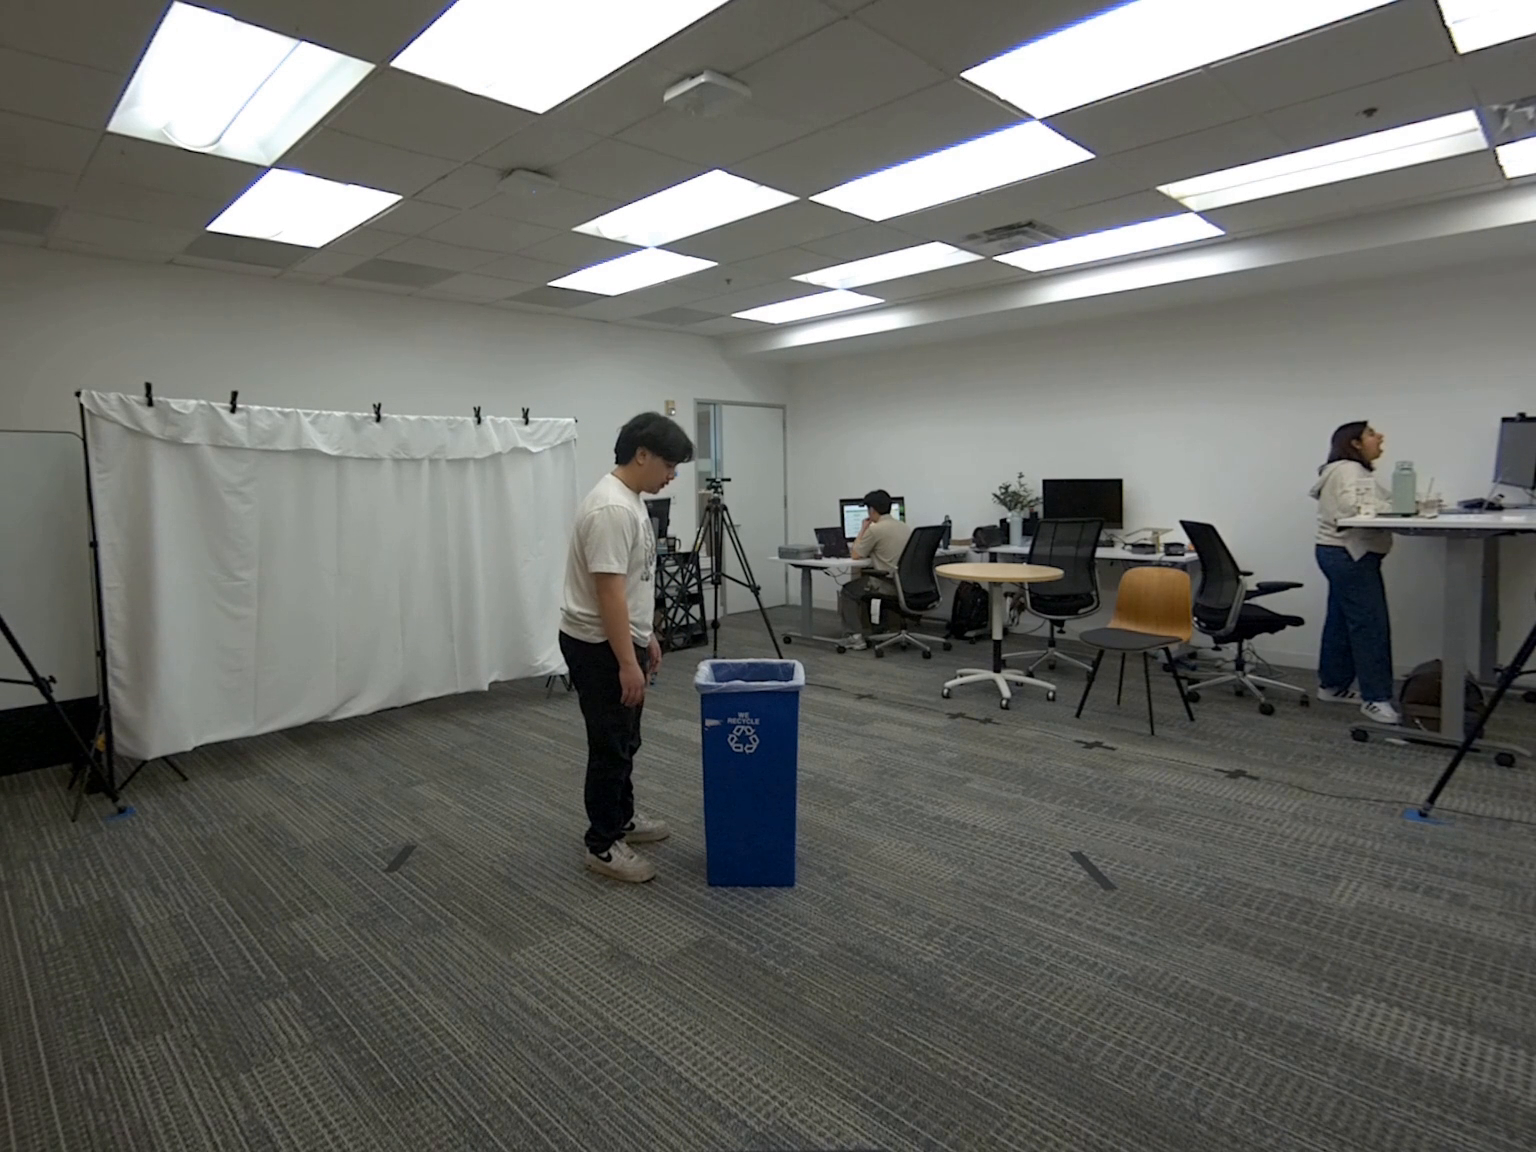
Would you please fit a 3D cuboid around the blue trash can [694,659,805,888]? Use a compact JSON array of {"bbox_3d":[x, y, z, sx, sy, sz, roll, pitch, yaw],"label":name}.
[{"bbox_3d":[-0.061,0.689,3.052,0.375,0.711,0.379,-1,4,1],"label":"blue trash can"}]
